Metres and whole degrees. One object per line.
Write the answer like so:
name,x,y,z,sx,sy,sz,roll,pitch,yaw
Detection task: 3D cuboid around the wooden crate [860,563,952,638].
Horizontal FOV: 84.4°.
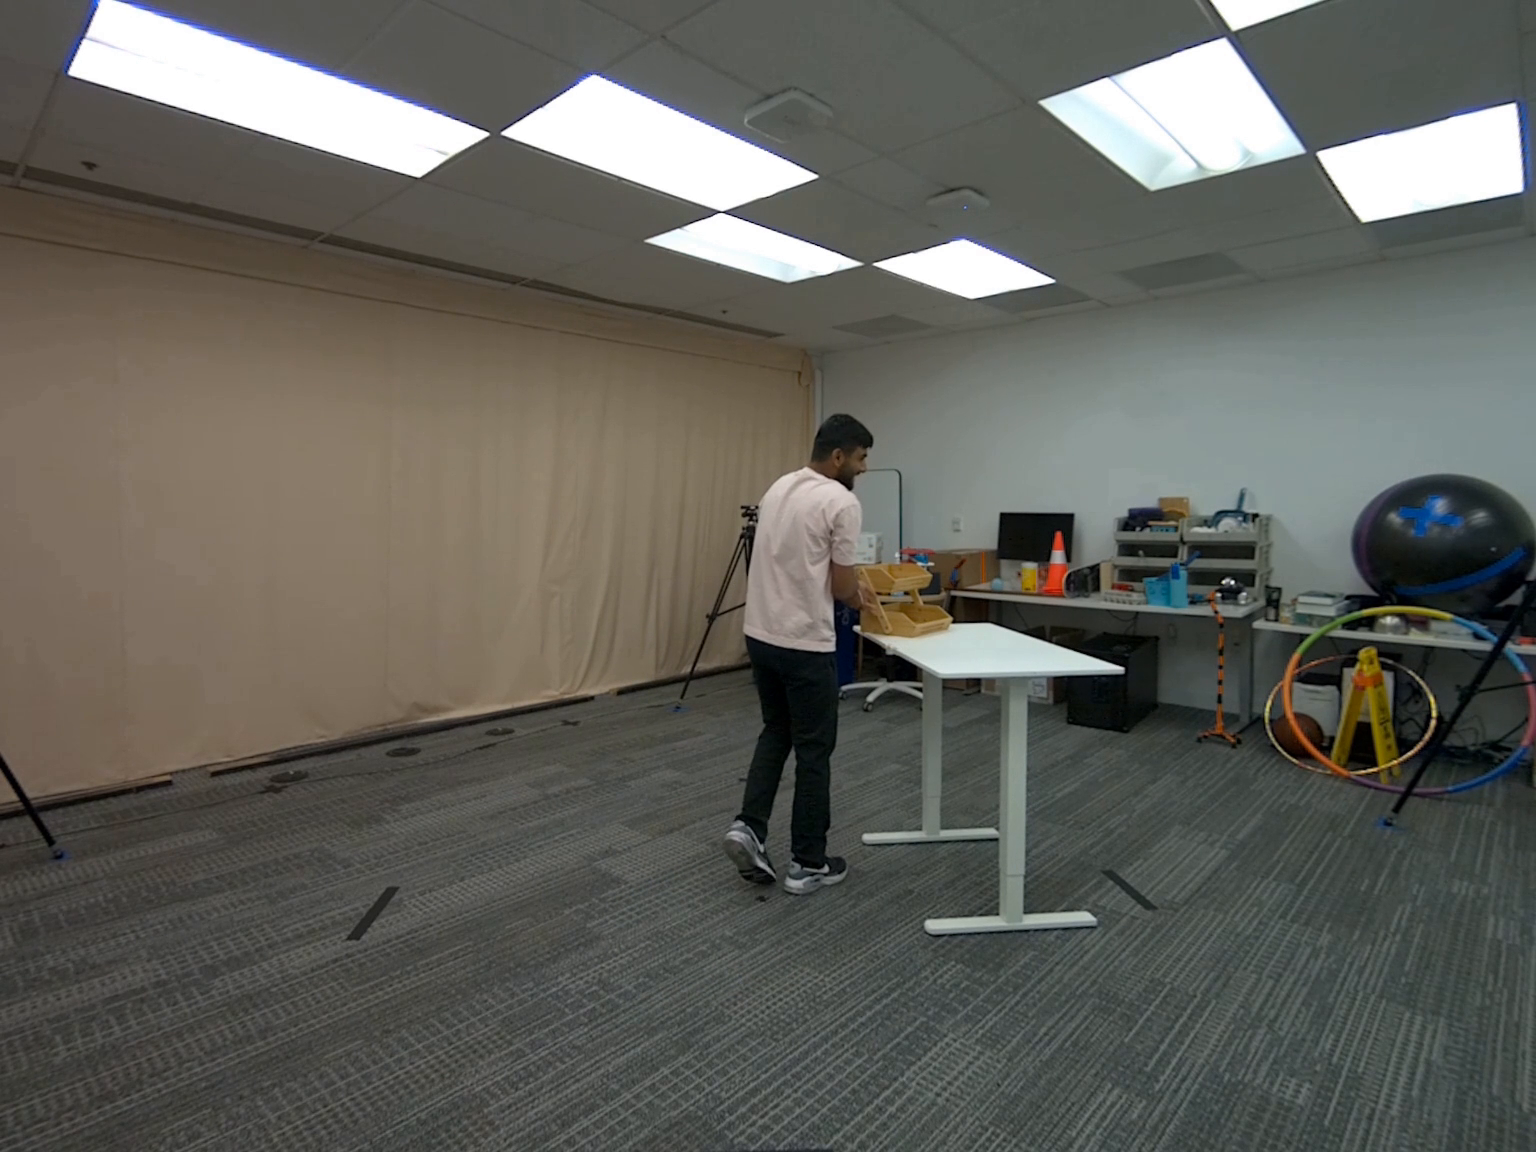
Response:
wooden crate,0.550,0.088,3.429,0.311,0.273,0.315,1,5,34
